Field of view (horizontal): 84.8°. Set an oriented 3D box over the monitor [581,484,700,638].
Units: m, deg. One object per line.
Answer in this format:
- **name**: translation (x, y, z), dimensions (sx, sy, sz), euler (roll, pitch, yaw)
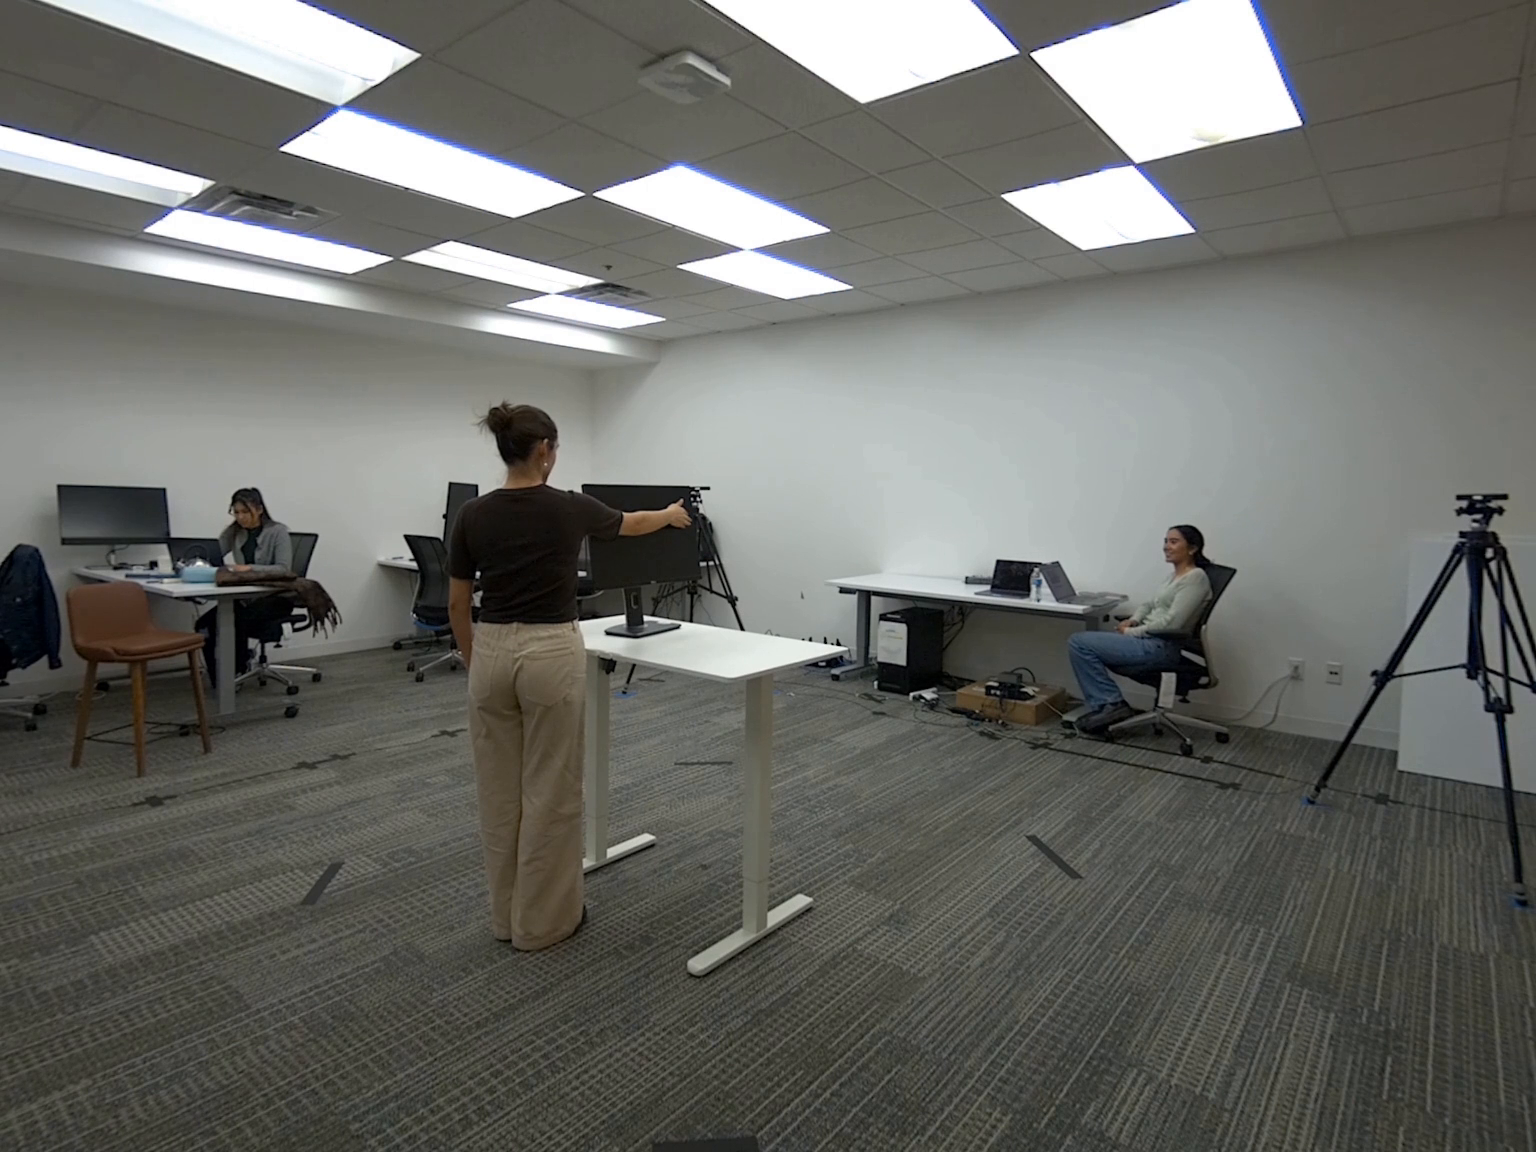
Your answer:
- **monitor**: translation (-0.453, -0.059, 2.983), dimensions (0.193, 0.521, 0.524), euler (4, 5, 36)
